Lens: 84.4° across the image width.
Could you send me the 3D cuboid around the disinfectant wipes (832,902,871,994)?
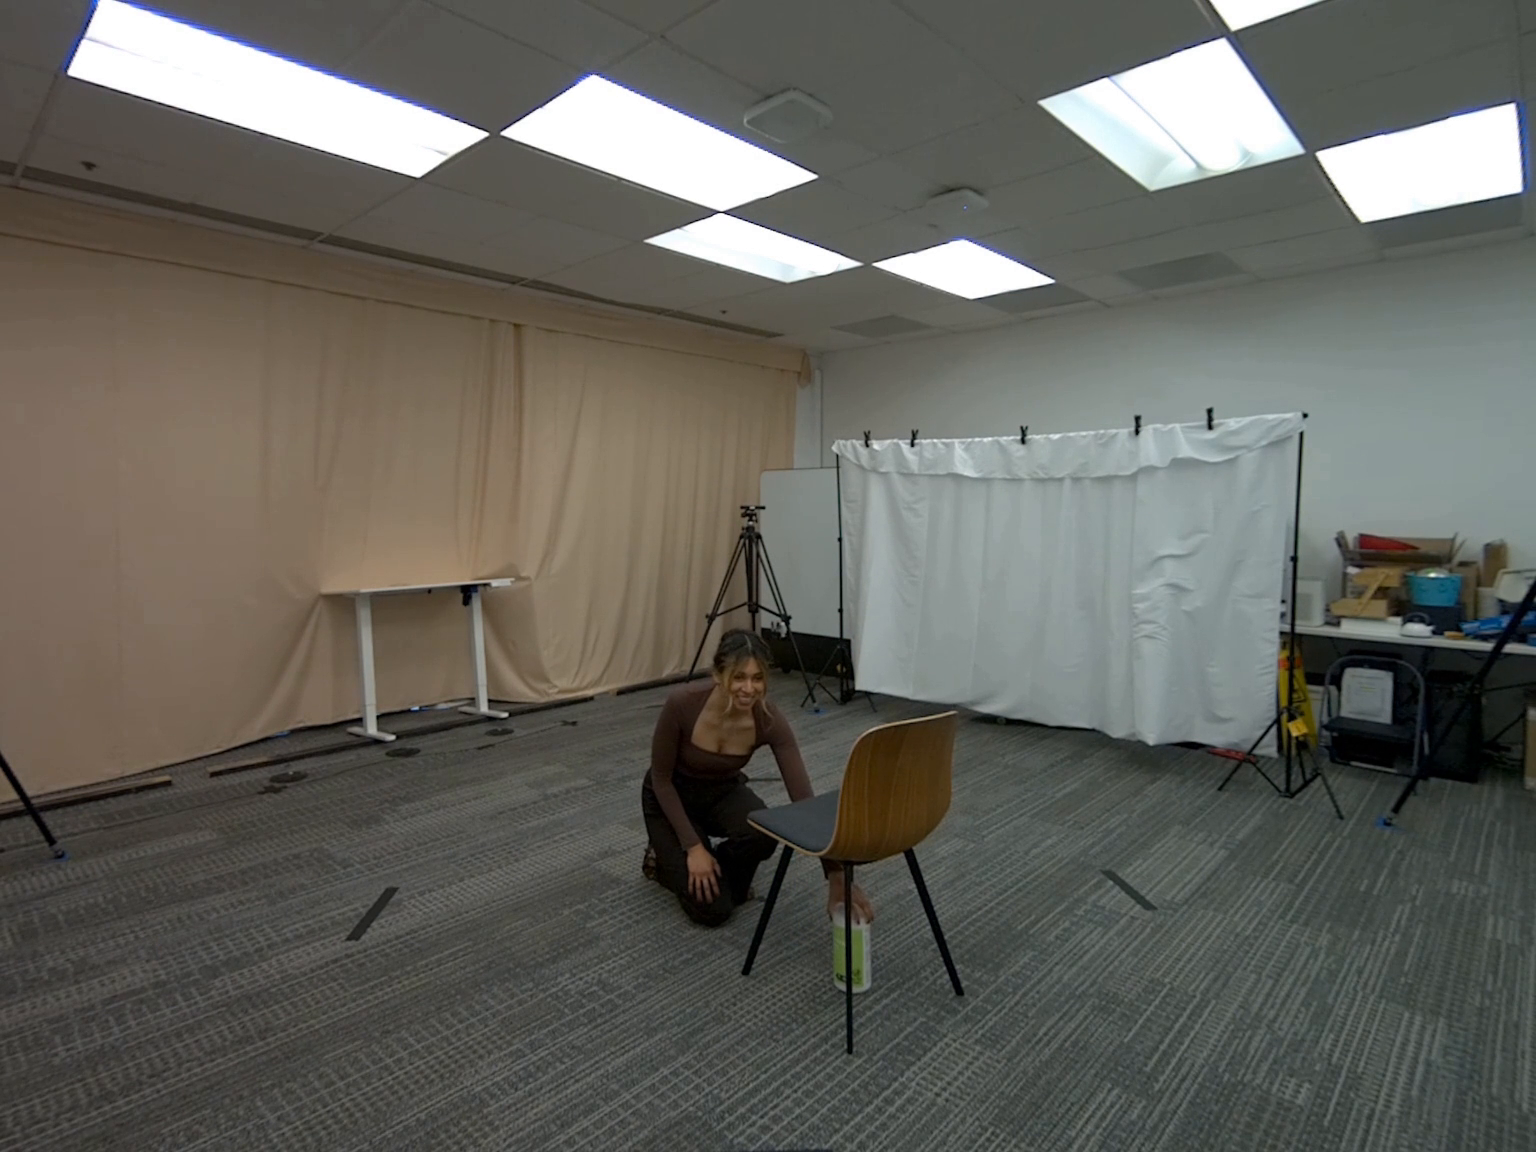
[{"bbox_3d":[0.247,1.091,2.441,0.118,0.217,0.118,0,1,-2],"label":"disinfectant wipes"}]
